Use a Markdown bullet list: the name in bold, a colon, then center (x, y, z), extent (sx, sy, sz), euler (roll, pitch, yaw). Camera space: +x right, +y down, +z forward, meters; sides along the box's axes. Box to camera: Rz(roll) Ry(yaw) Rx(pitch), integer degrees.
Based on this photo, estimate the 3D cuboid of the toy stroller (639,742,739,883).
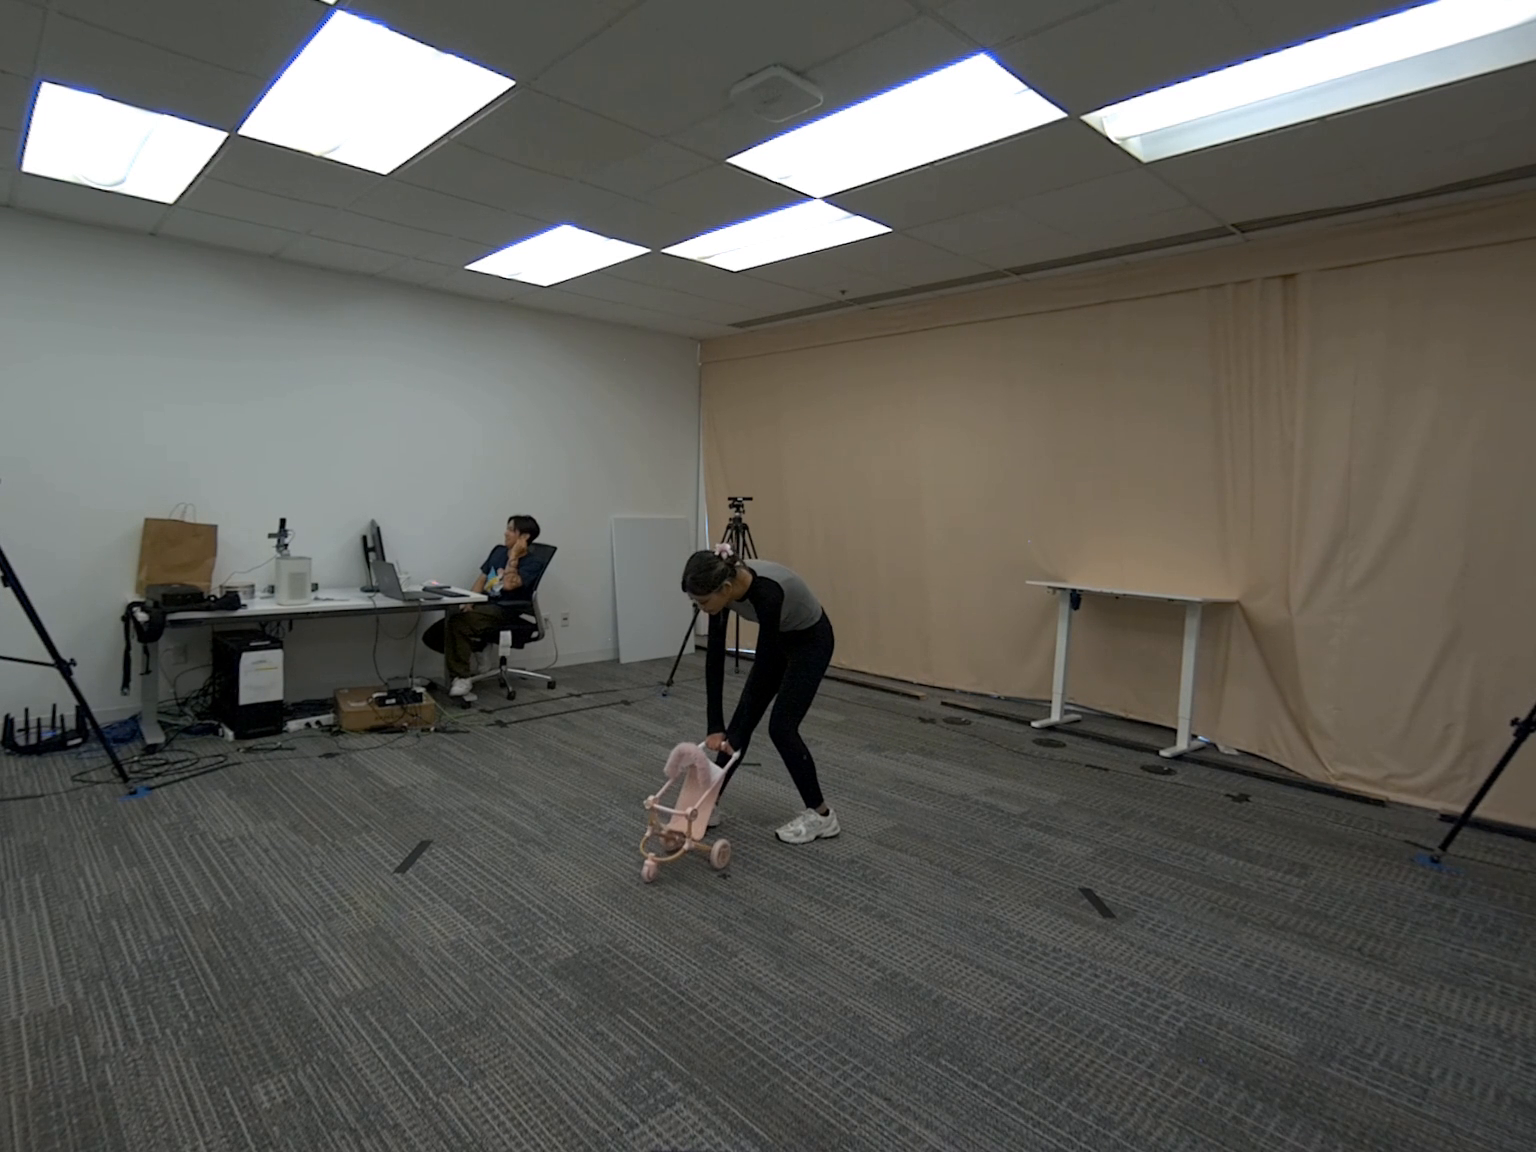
- **toy stroller**: center (-0.323, 0.875, 3.182), extent (0.288, 0.538, 0.331), euler (2, -14, 40)
